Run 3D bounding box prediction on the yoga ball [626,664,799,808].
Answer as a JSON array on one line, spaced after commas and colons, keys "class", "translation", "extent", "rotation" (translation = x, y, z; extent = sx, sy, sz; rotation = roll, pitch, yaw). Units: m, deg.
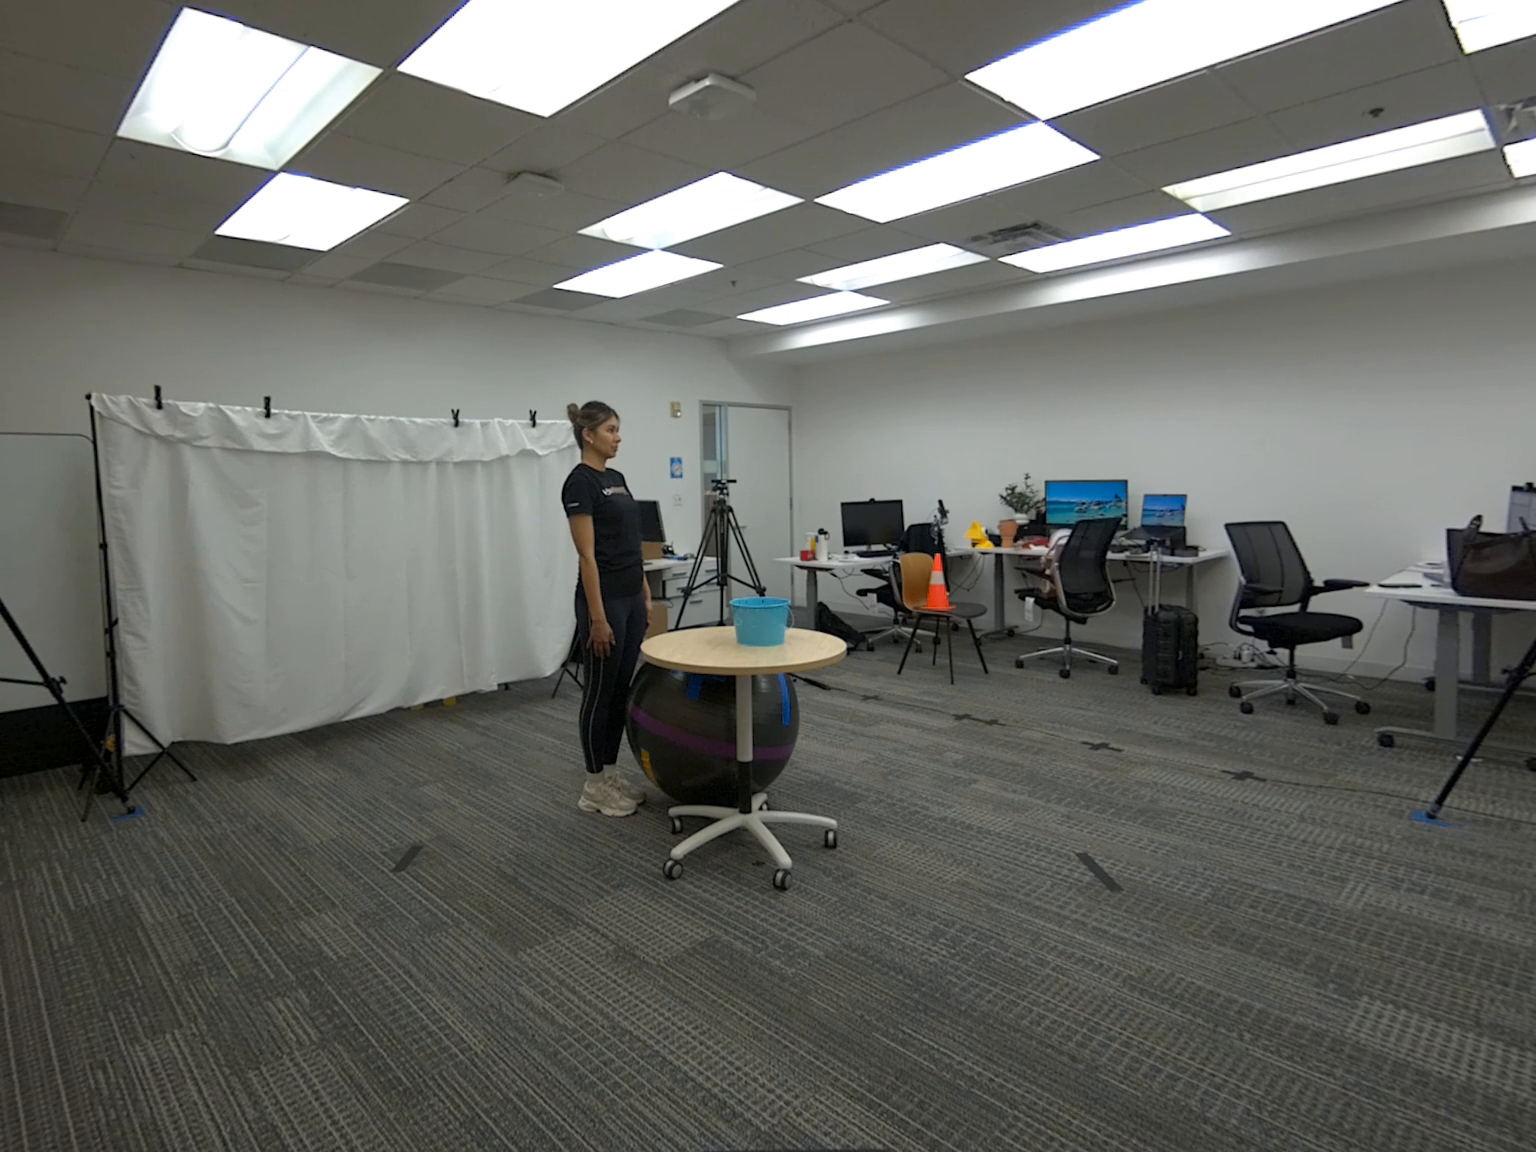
[{"class": "yoga ball", "translation": [-0.243, 0.618, 3.730], "extent": [0.757, 0.755, 0.762], "rotation": [-1, 5, -2]}]
